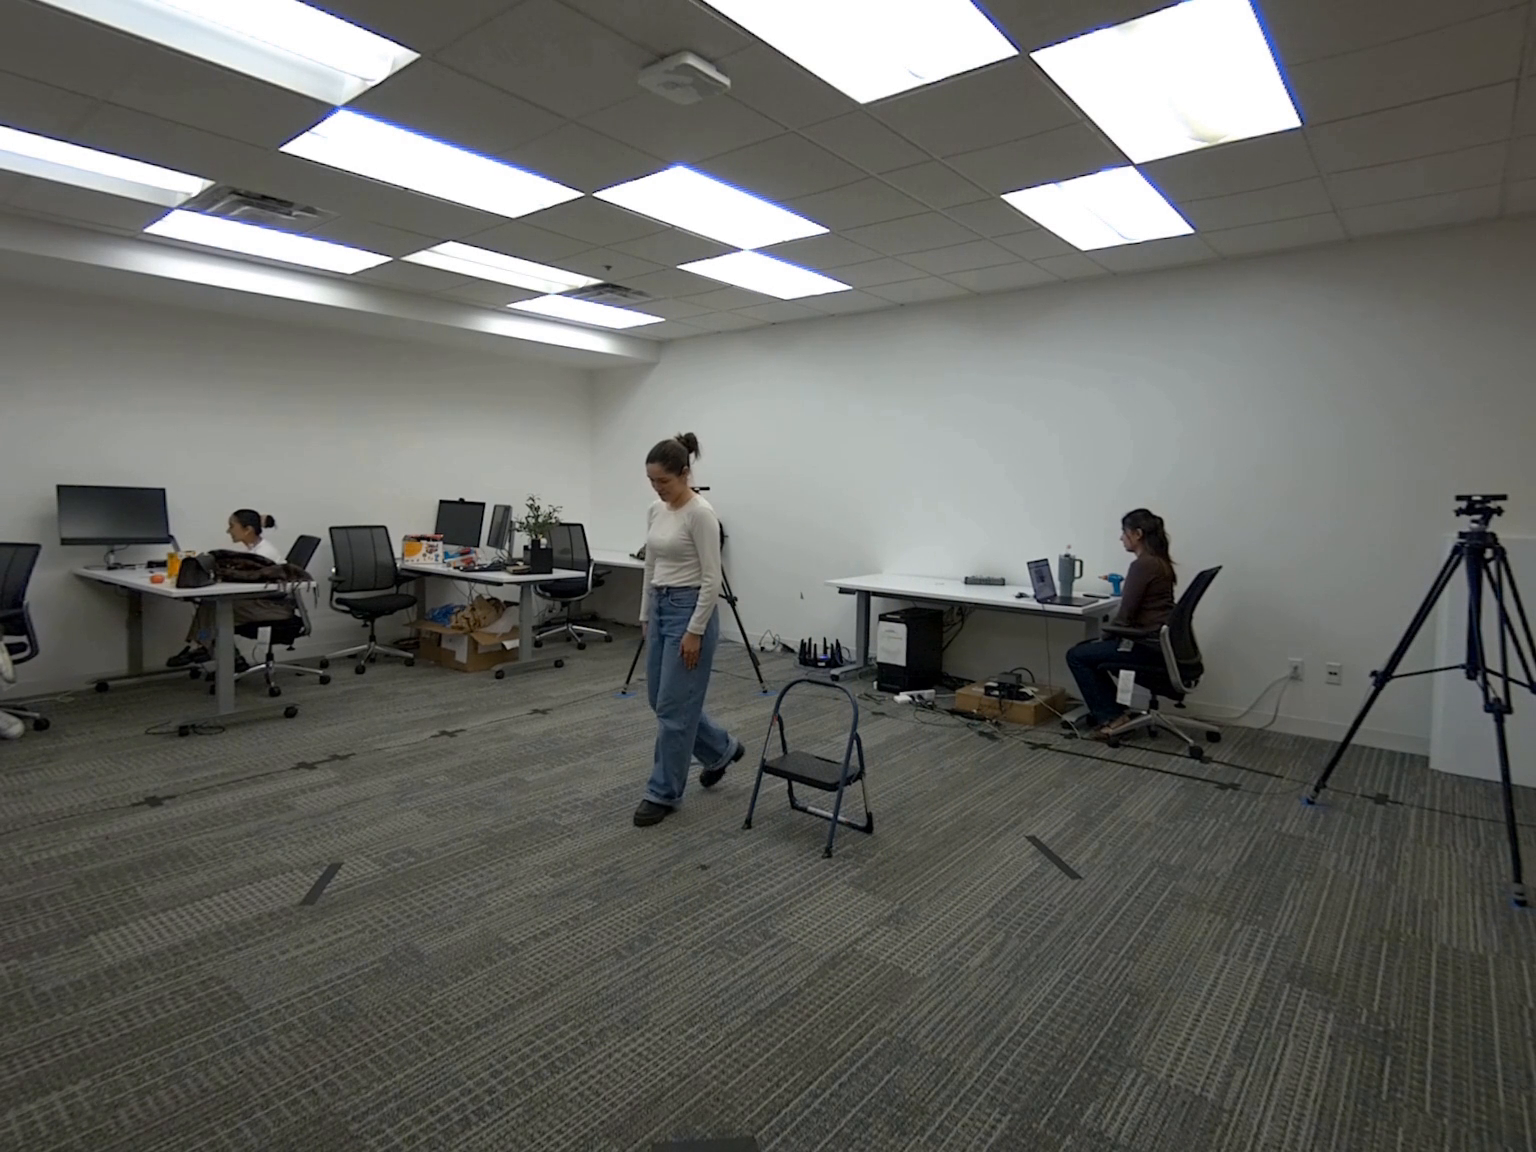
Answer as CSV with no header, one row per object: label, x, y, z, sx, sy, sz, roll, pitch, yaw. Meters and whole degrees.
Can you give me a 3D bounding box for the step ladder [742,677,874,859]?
step ladder,0.167,0.734,3.459,0.445,0.604,0.339,4,4,39
